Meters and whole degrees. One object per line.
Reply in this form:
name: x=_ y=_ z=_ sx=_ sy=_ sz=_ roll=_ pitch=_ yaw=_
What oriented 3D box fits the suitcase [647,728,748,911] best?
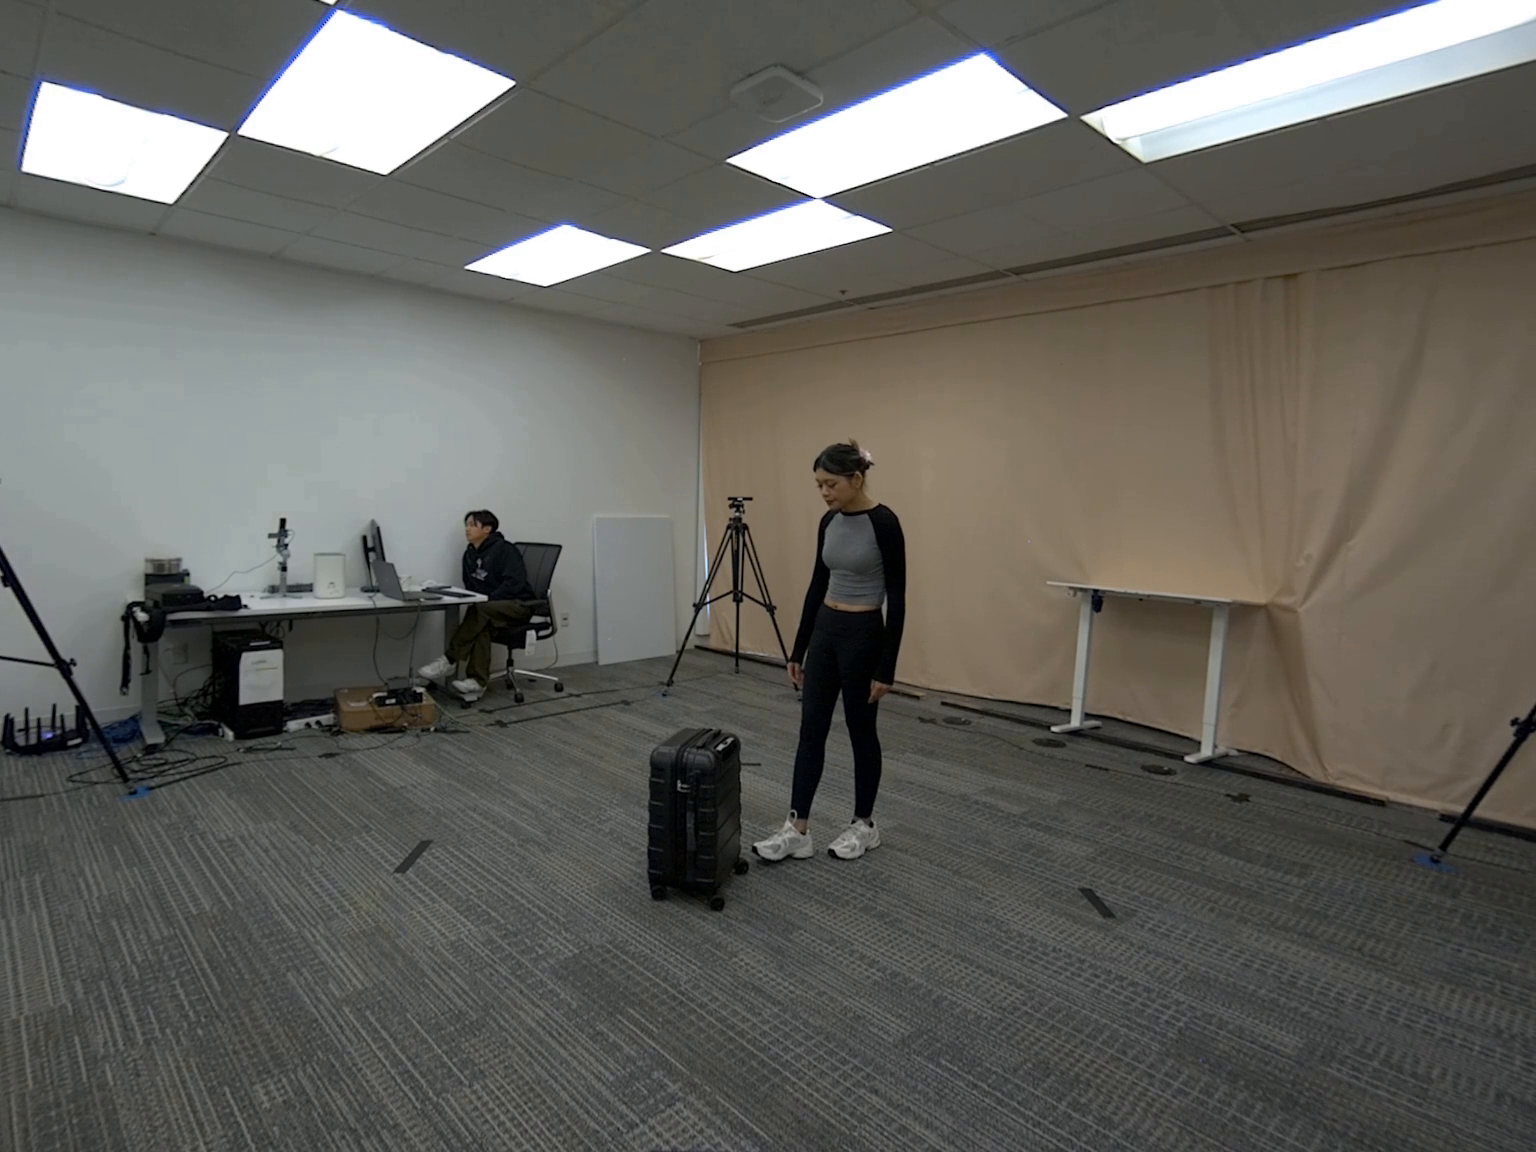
suitcase: x=-0.264 y=0.838 z=3.005 sx=0.252 sy=0.548 sz=0.371 roll=1 pitch=4 yaw=18
